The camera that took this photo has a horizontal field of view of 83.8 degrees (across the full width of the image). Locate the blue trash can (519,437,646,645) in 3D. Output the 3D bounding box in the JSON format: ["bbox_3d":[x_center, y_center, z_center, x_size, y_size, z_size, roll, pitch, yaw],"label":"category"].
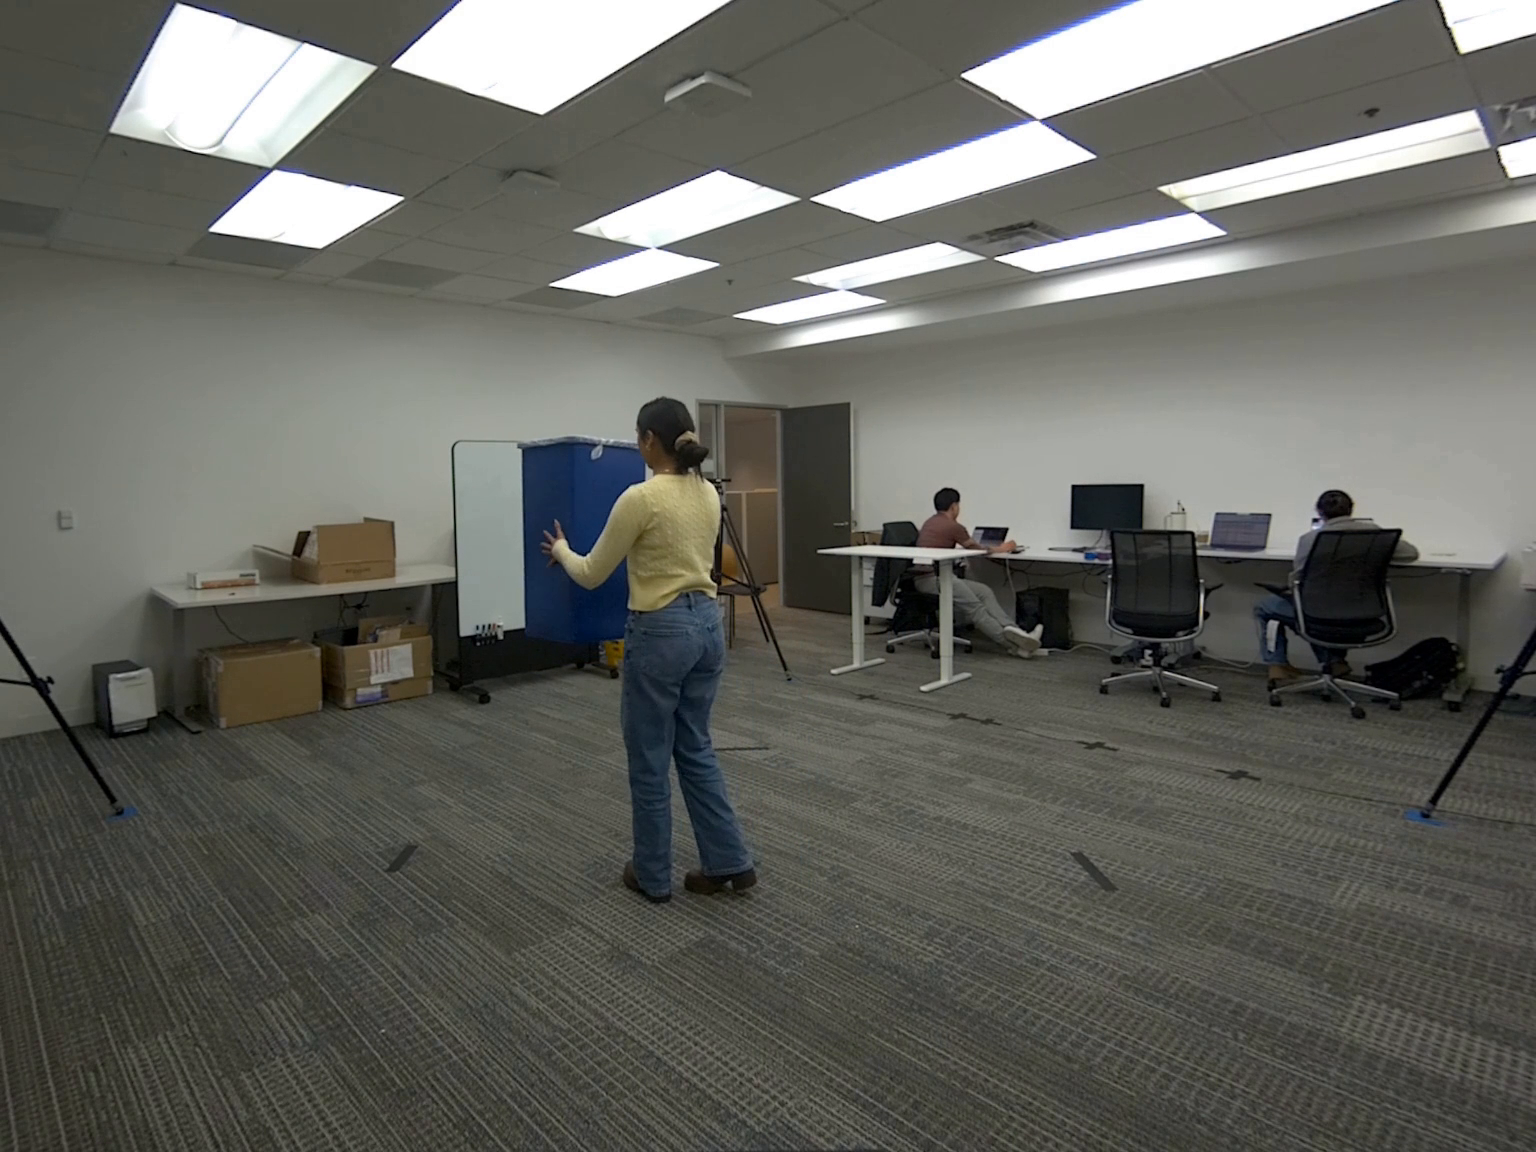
[{"bbox_3d":[-0.682,-0.136,3.149,0.385,0.714,0.367,2,0,44],"label":"blue trash can"}]
